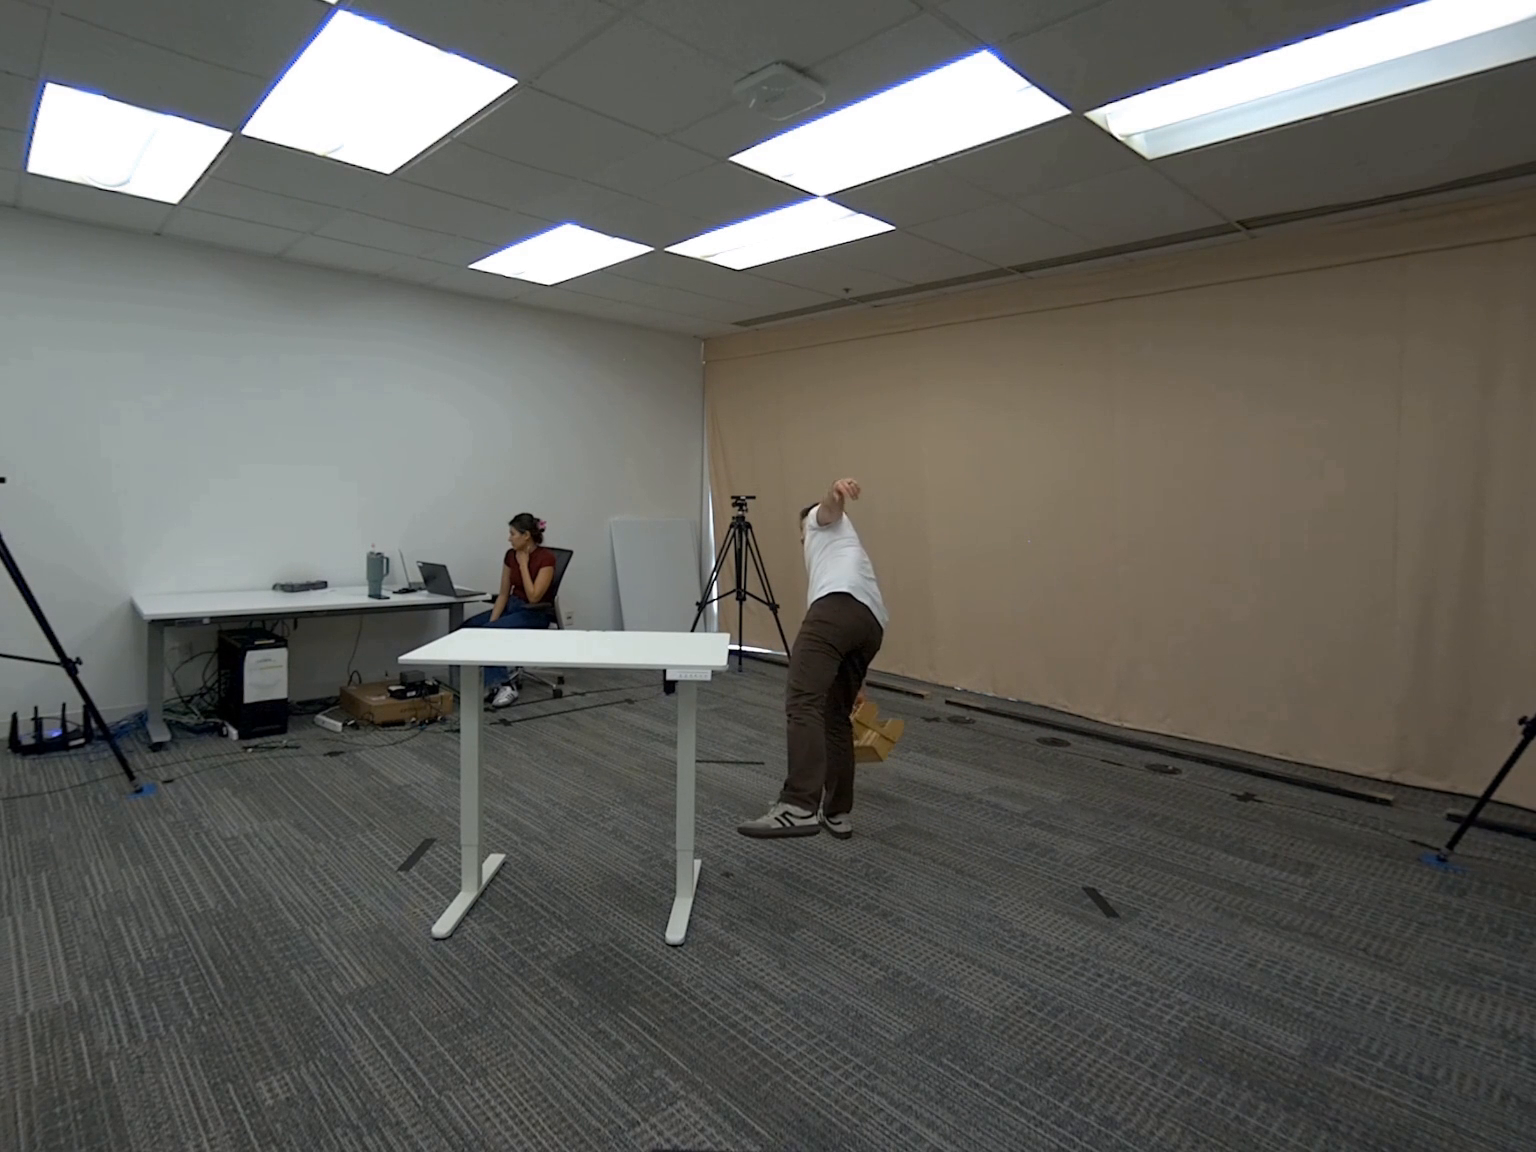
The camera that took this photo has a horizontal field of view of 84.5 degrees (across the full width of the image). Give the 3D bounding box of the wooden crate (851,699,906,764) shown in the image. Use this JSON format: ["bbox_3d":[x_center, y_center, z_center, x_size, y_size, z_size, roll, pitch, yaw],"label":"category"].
[{"bbox_3d":[0.390,0.699,3.909,0.329,0.270,0.301,-18,20,47],"label":"wooden crate"}]
